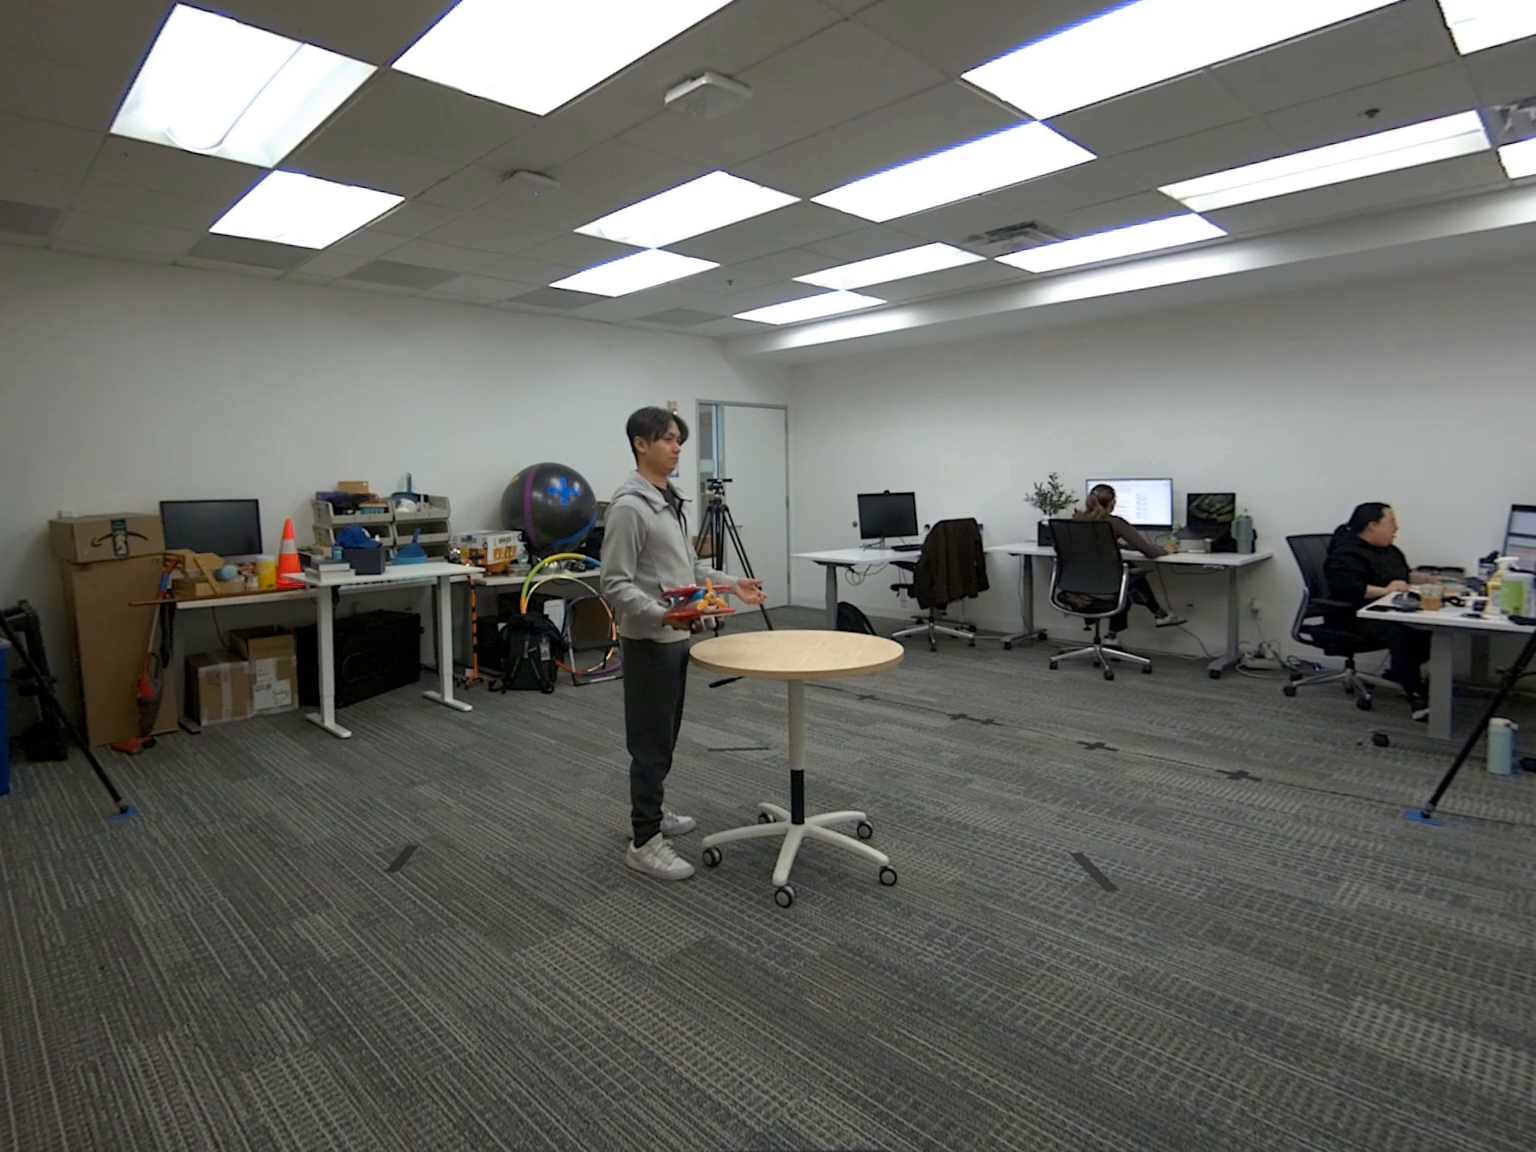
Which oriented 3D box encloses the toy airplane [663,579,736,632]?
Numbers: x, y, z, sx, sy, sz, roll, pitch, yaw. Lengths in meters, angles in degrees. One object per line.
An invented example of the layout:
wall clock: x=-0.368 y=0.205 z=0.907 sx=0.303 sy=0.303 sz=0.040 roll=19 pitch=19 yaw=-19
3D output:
toy airplane: x=-0.253 y=0.095 z=2.878 sx=0.265 sy=0.156 sz=0.245 roll=0 pitch=1 yaw=26
